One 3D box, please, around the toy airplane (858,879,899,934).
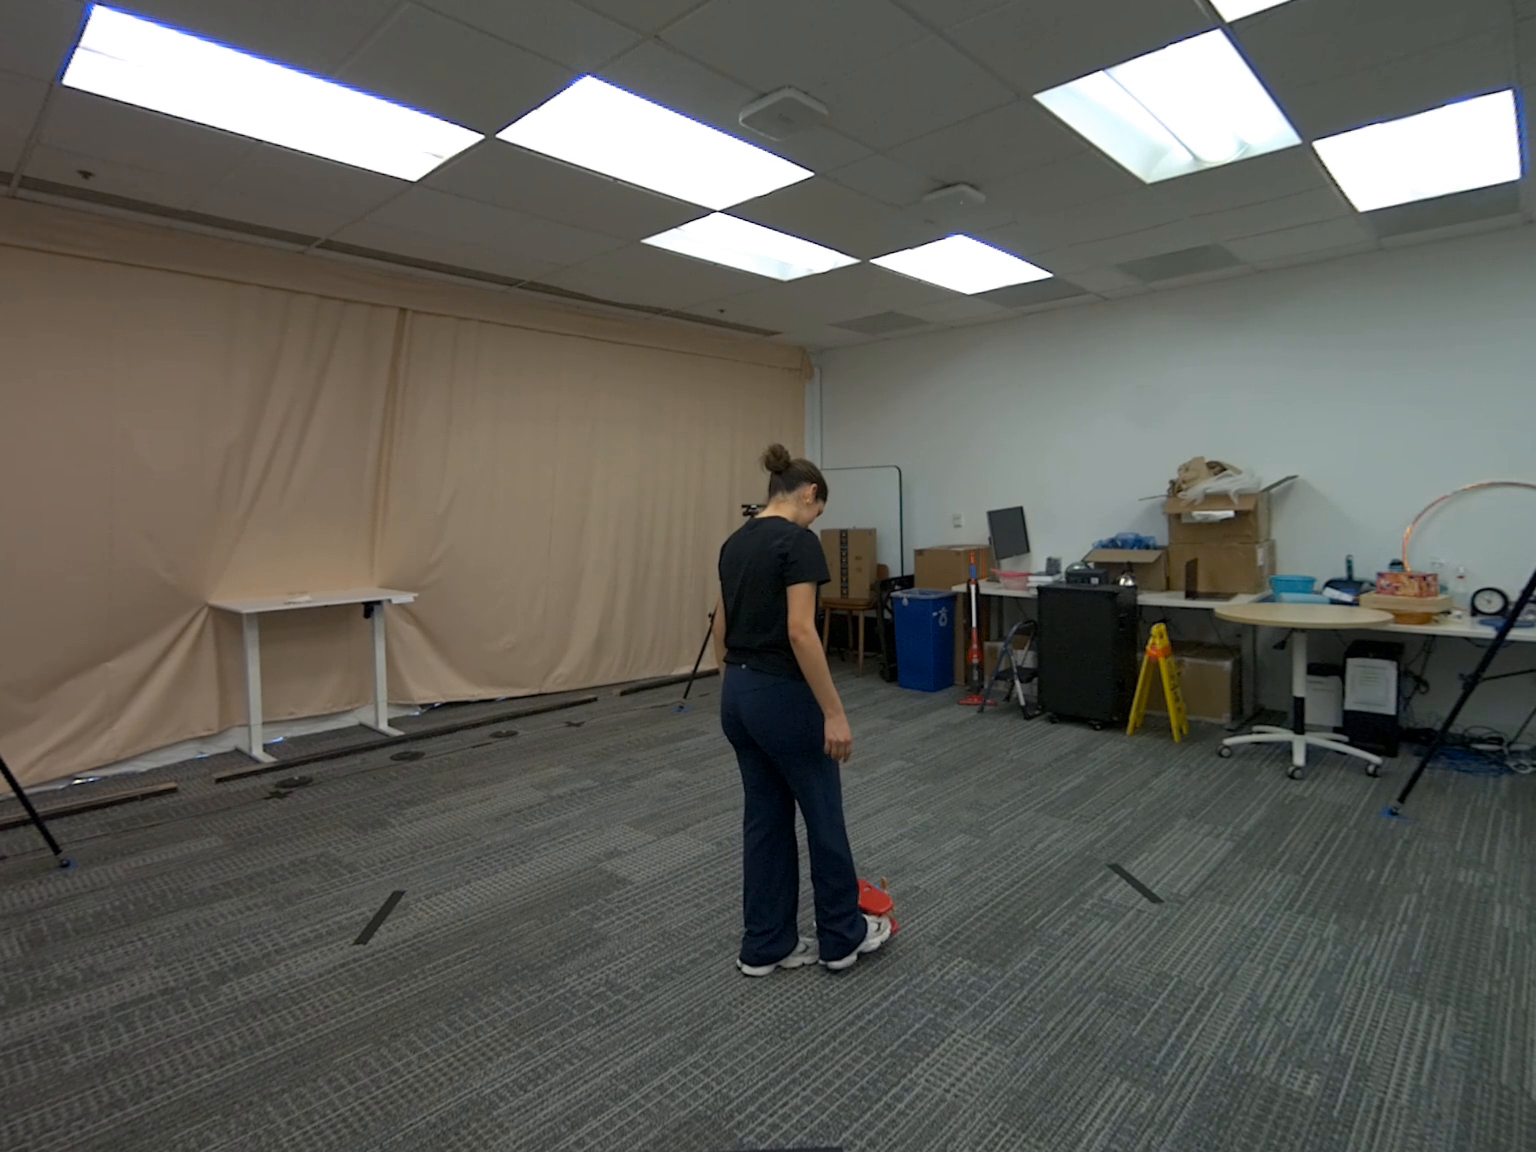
[{"bbox_3d":[0.317,1.086,2.683,0.258,0.156,0.252,2,3,30],"label":"toy airplane"}]
